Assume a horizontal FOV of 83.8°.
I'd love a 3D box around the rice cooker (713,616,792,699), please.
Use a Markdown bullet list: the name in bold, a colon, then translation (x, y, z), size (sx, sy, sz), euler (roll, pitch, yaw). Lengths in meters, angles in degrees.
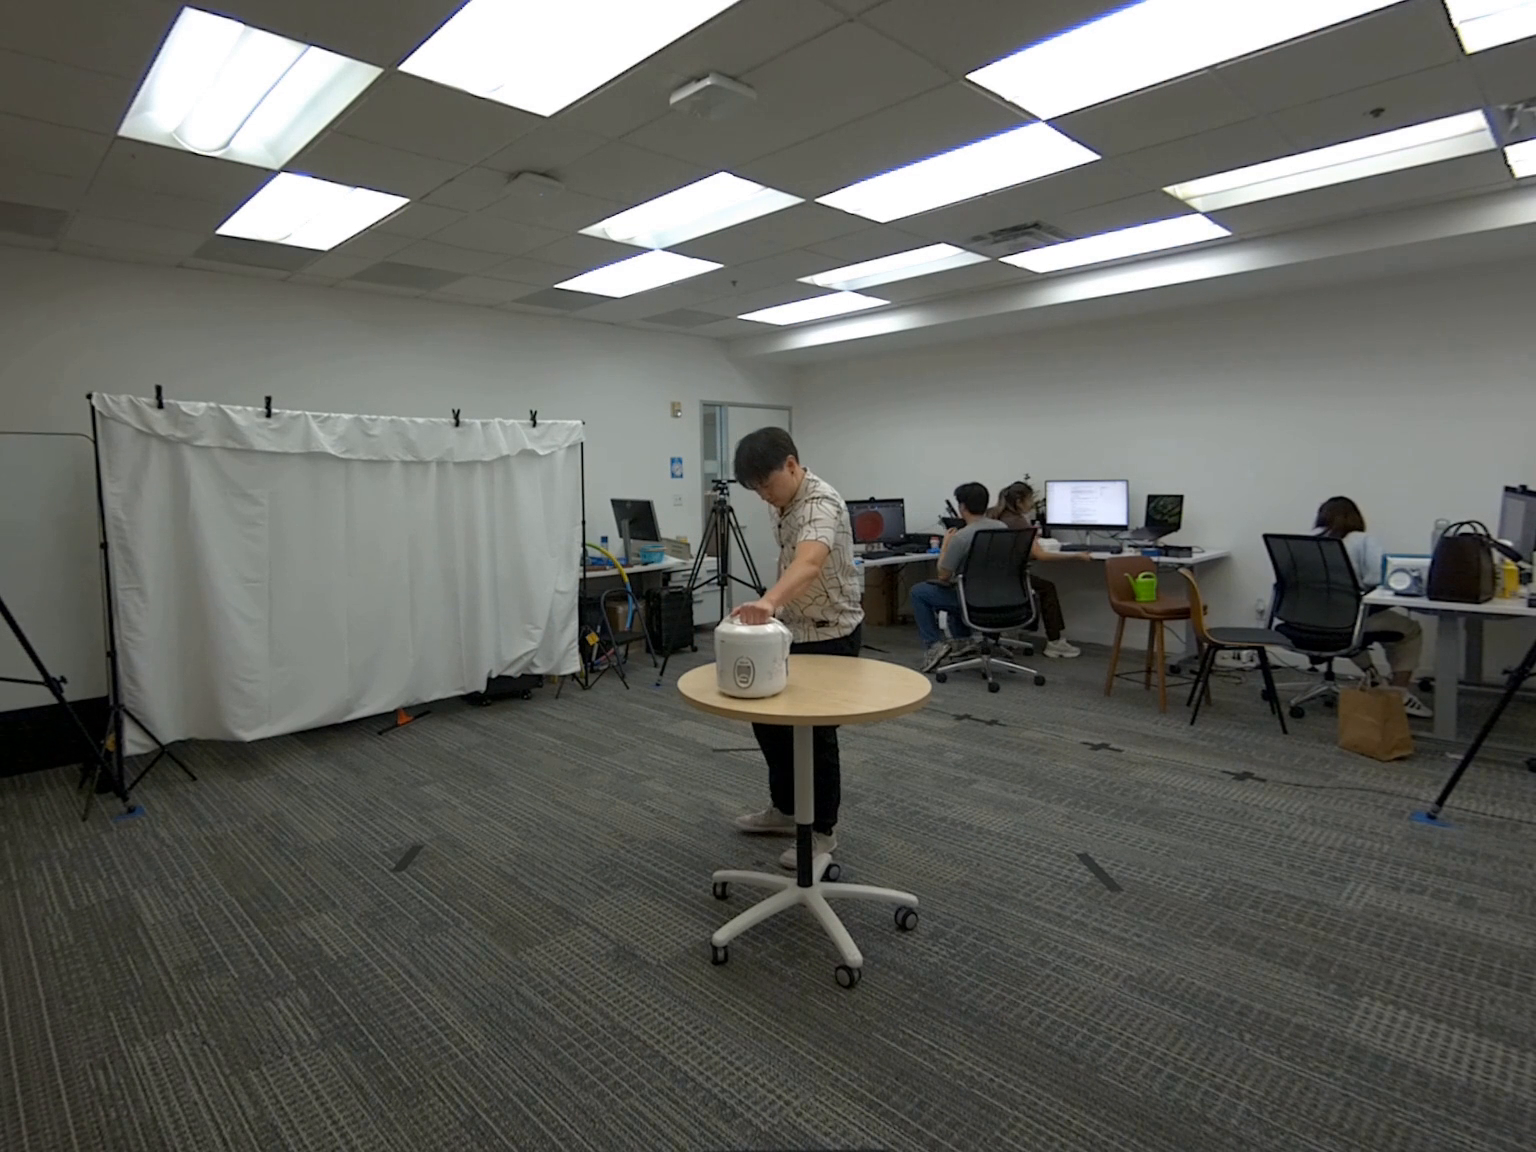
- **rice cooker**: translation (-0.040, 0.222, 2.472), size (0.223, 0.232, 0.215), euler (0, 3, 12)
